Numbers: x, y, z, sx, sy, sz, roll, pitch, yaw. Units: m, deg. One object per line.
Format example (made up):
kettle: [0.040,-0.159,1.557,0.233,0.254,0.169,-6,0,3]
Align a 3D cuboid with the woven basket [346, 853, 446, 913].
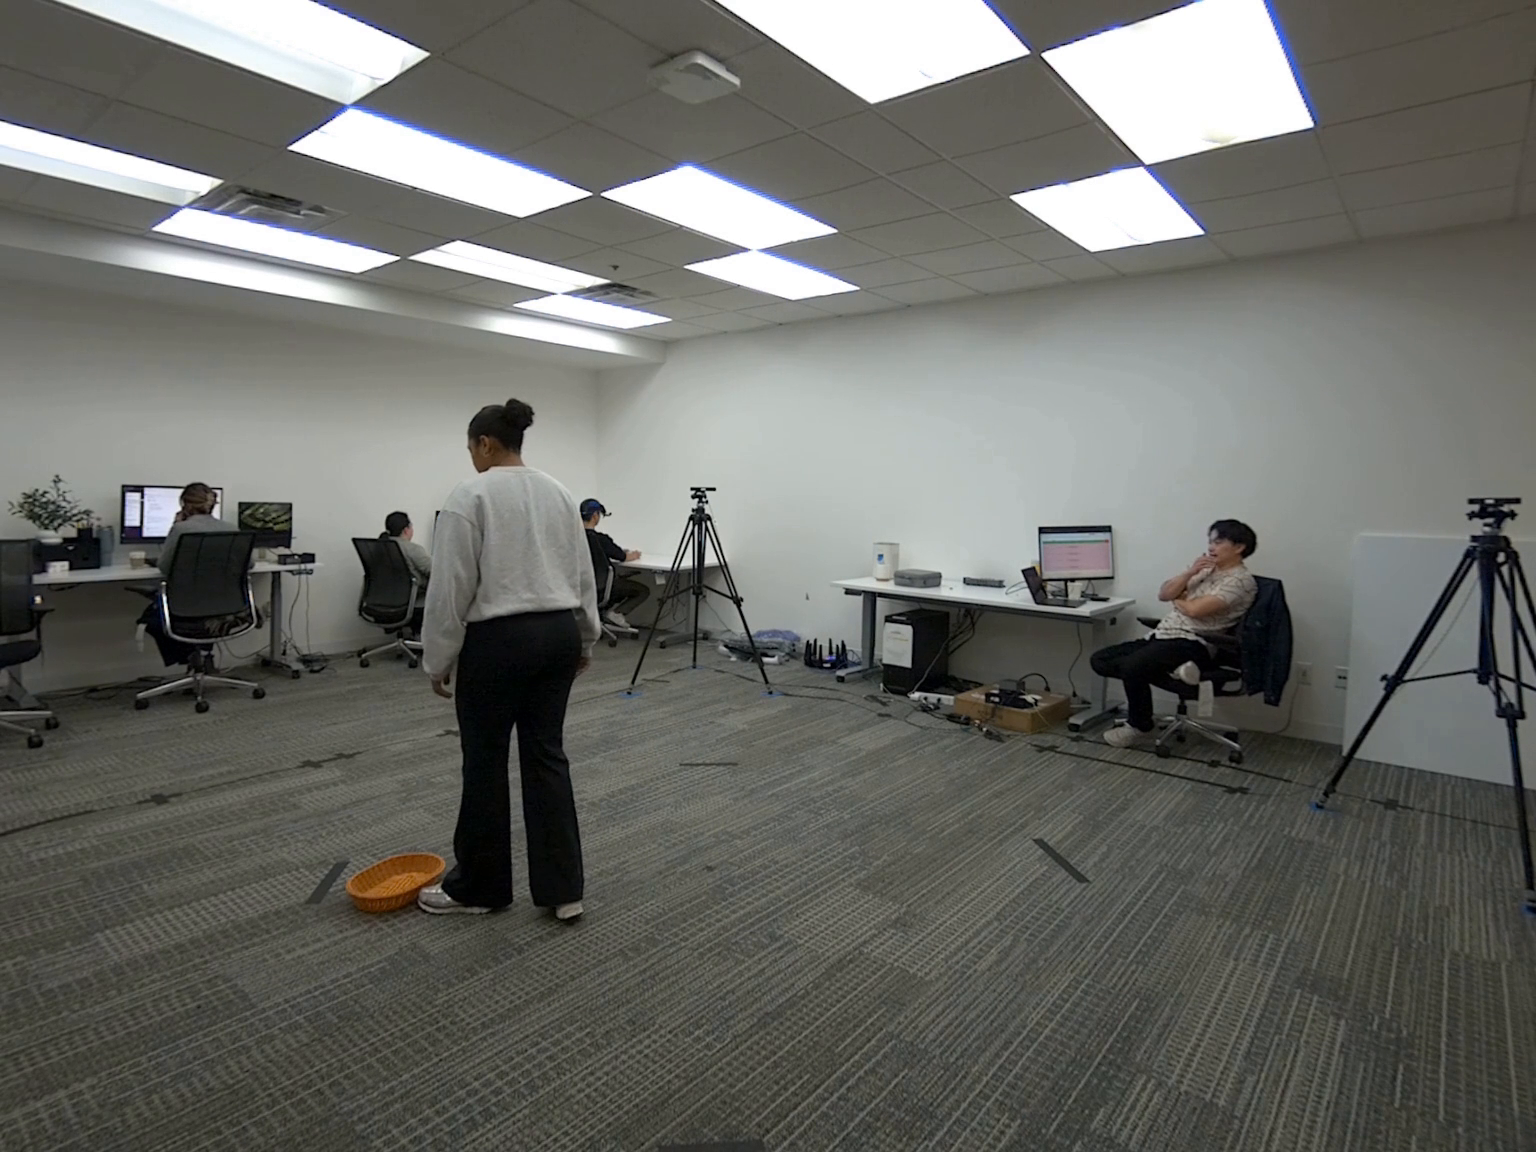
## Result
woven basket: [-1.261,1.035,2.874,0.259,0.073,0.342,3,5,25]
